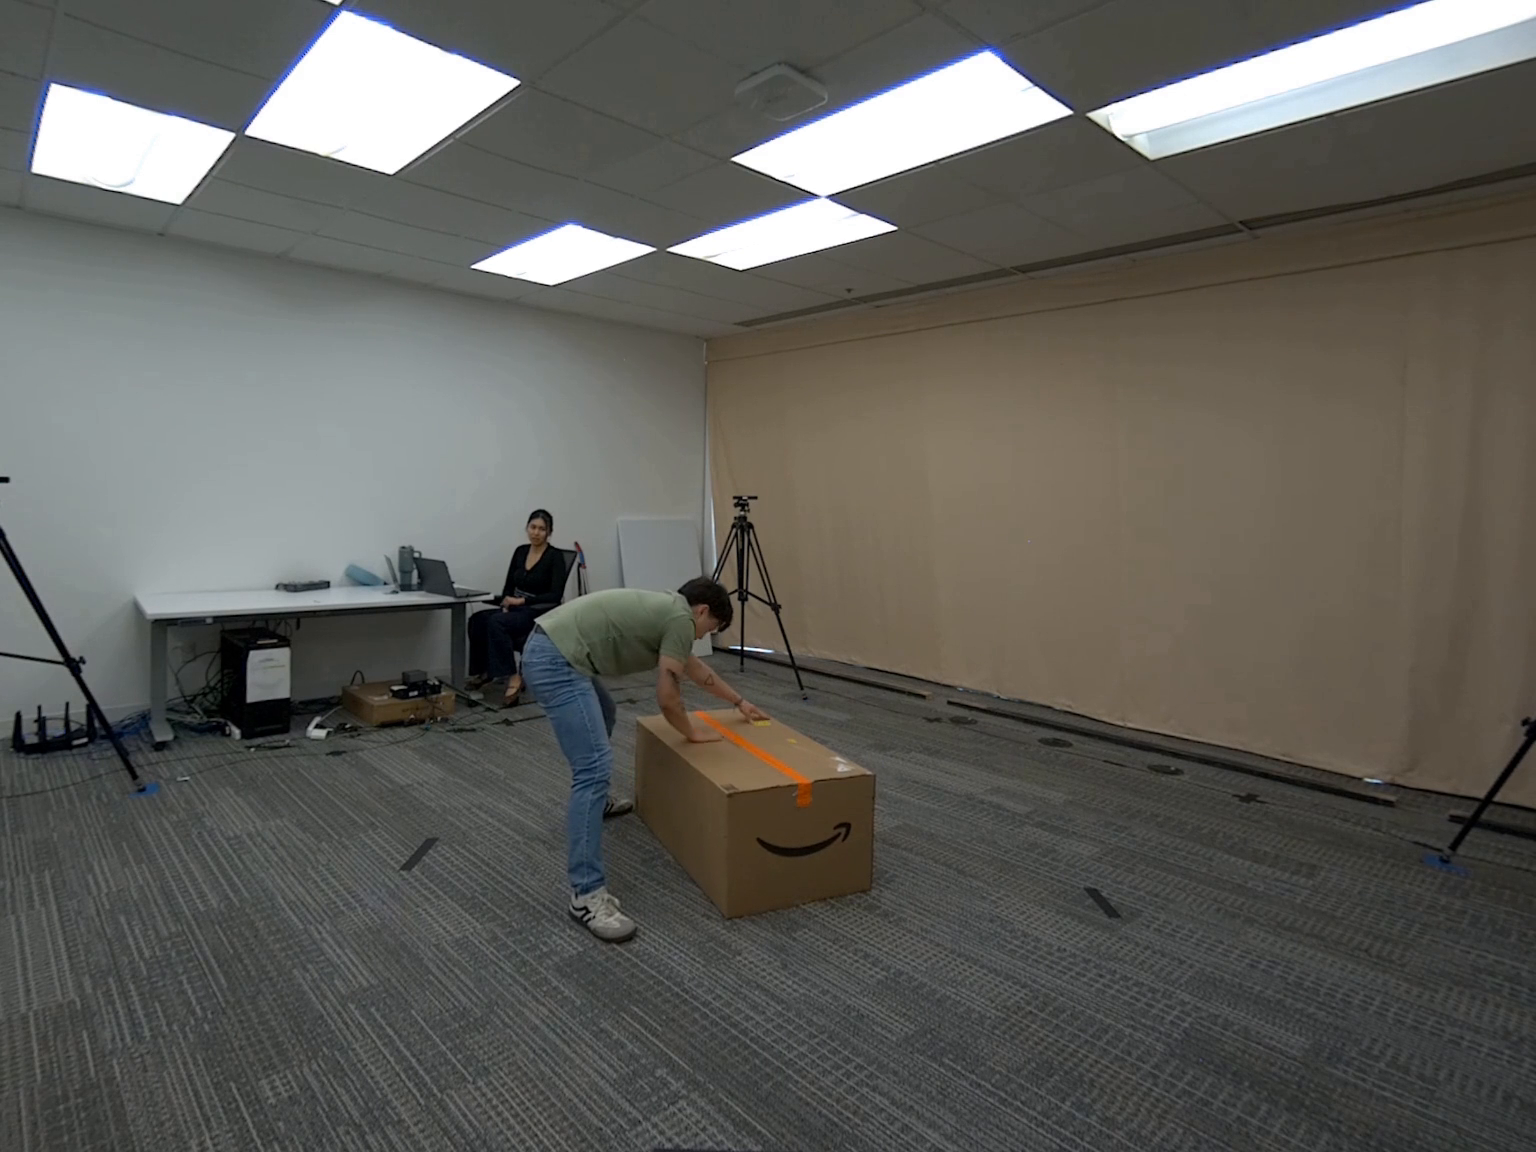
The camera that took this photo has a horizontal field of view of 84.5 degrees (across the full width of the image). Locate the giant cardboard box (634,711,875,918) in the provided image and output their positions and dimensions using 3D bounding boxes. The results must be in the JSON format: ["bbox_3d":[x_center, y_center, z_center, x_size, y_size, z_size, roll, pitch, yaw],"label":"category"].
[{"bbox_3d":[-0.109,0.868,3.340,0.567,0.425,1.047,-1,5,-25],"label":"giant cardboard box"}]
